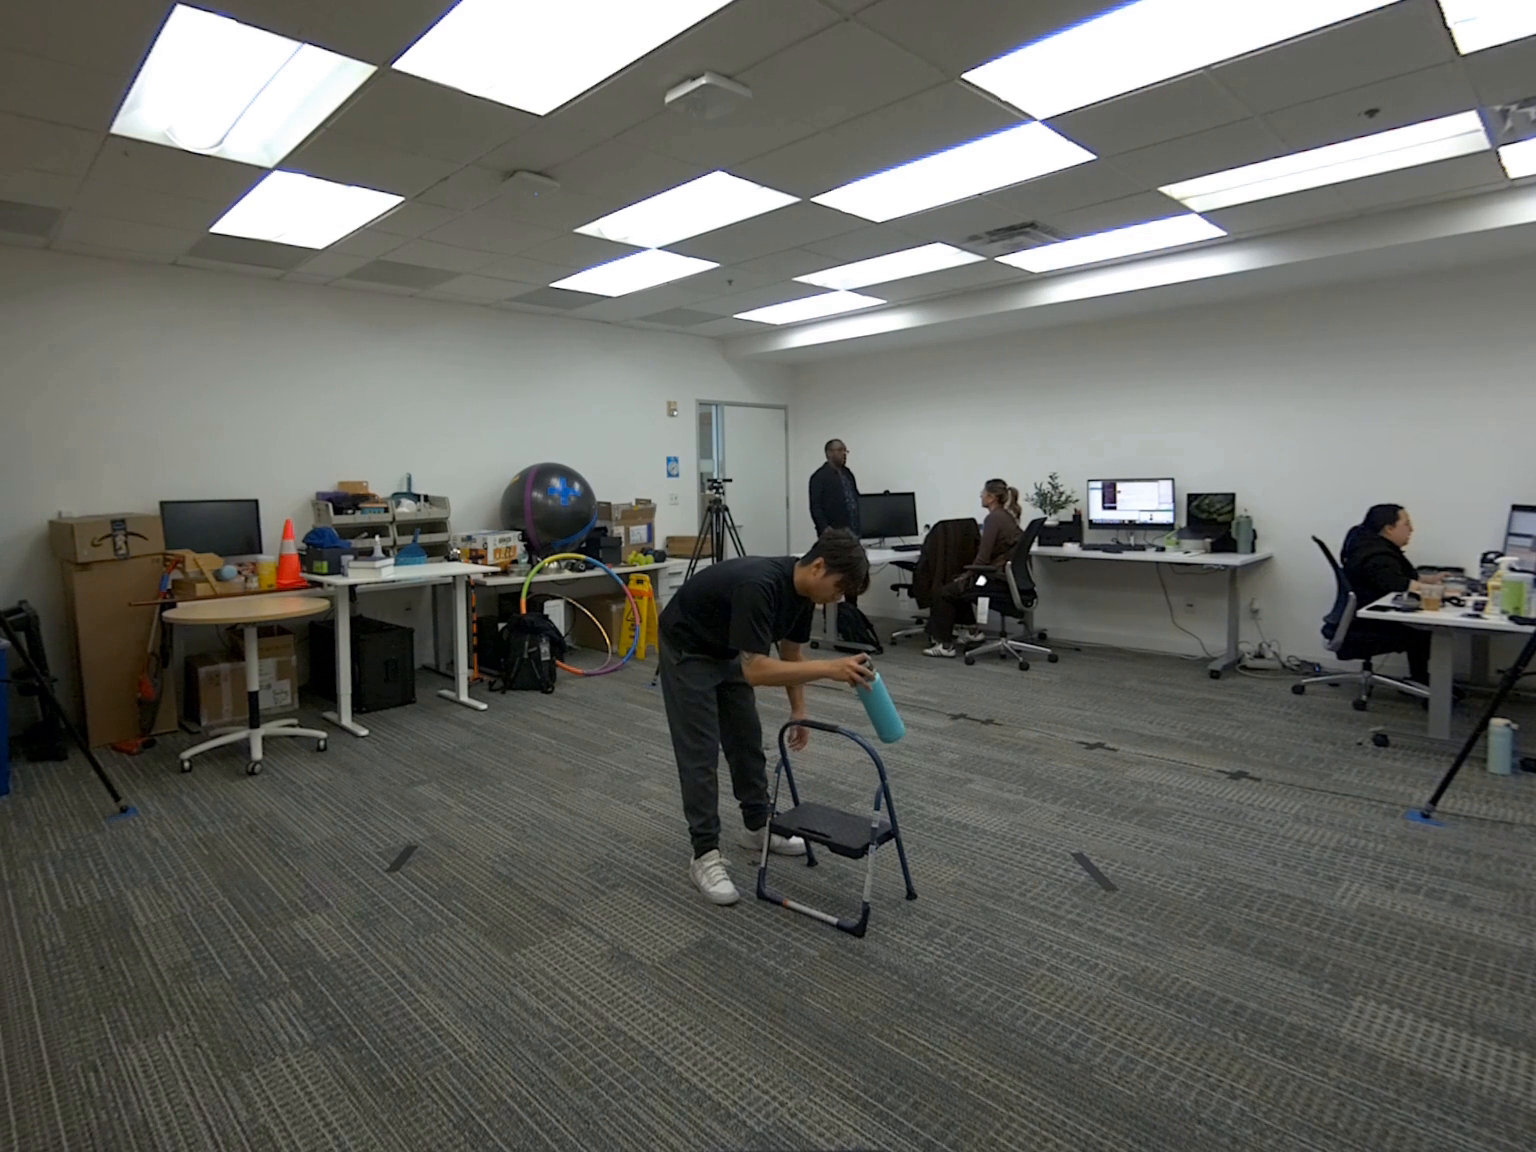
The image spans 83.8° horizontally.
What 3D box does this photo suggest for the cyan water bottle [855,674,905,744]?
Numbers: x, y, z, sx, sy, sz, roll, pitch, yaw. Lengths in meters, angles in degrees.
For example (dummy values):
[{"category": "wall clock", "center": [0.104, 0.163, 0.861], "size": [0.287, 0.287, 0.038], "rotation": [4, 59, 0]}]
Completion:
[{"category": "cyan water bottle", "center": [0.343, 0.401, 2.745], "size": [0.092, 0.280, 0.093], "rotation": [-26, 10, 4]}]
